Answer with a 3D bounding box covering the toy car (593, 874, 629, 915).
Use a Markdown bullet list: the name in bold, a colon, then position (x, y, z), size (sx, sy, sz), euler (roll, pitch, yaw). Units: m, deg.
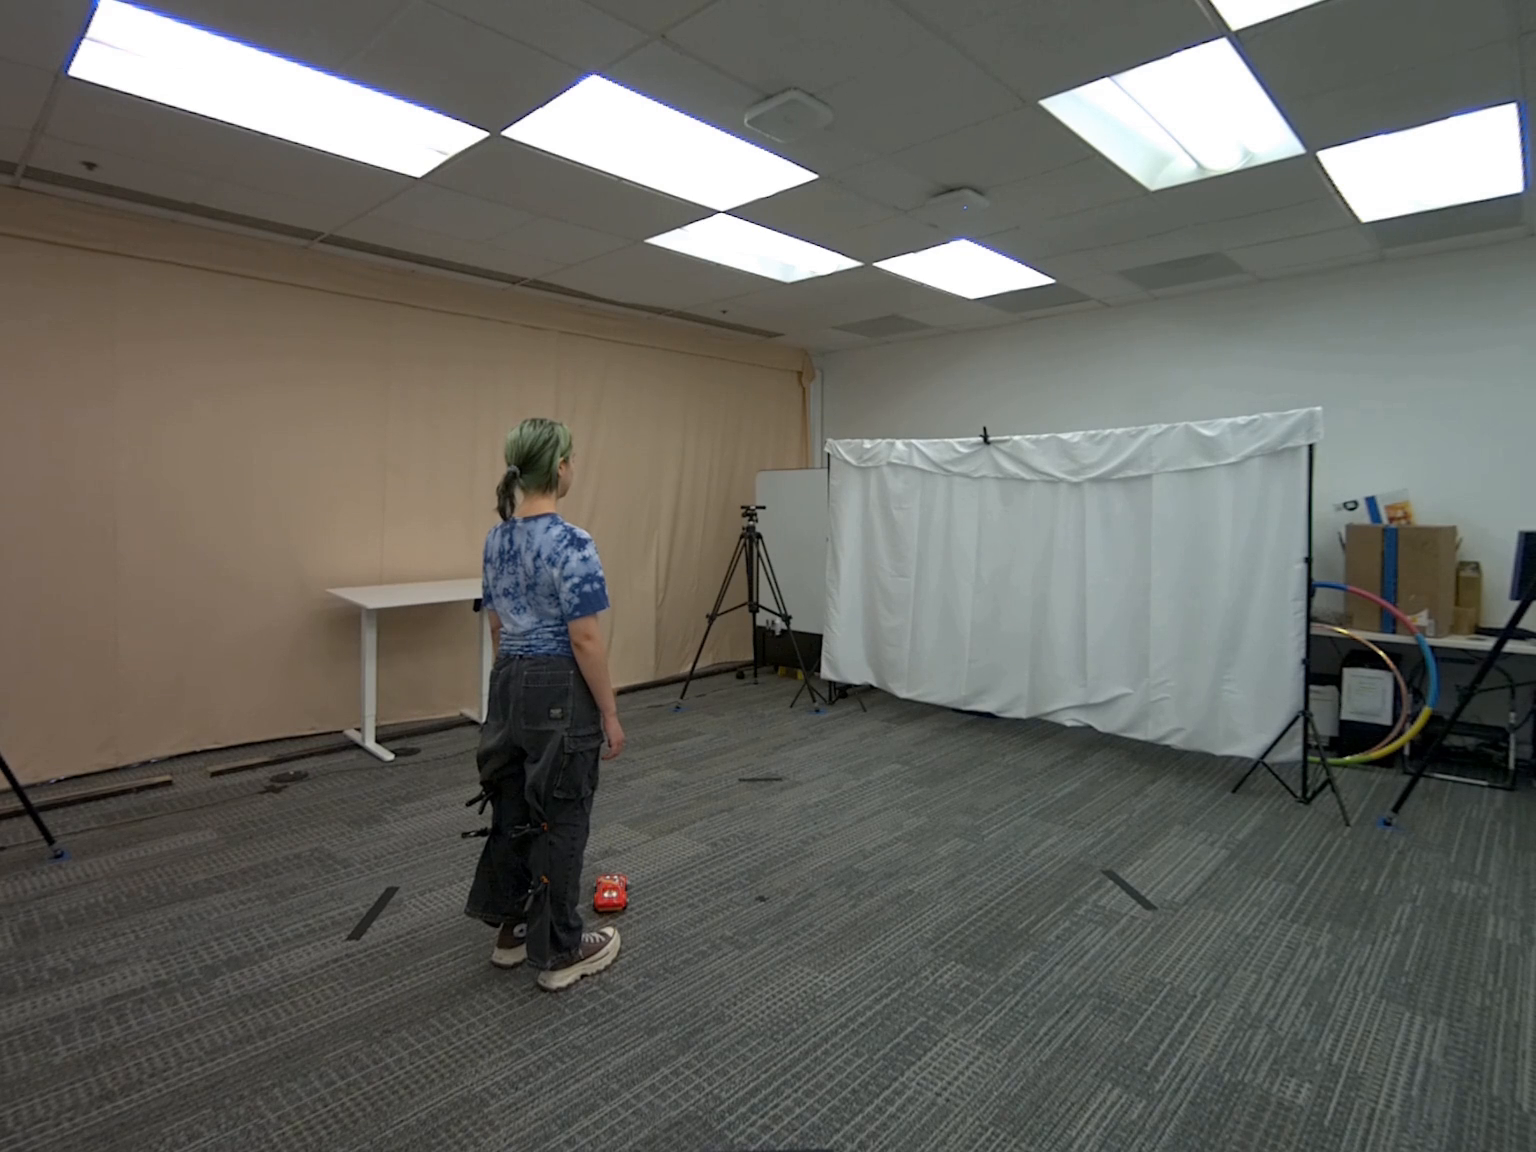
- **toy car**: position (-0.555, 1.119, 2.960), size (0.129, 0.083, 0.255), euler (1, -7, -7)
